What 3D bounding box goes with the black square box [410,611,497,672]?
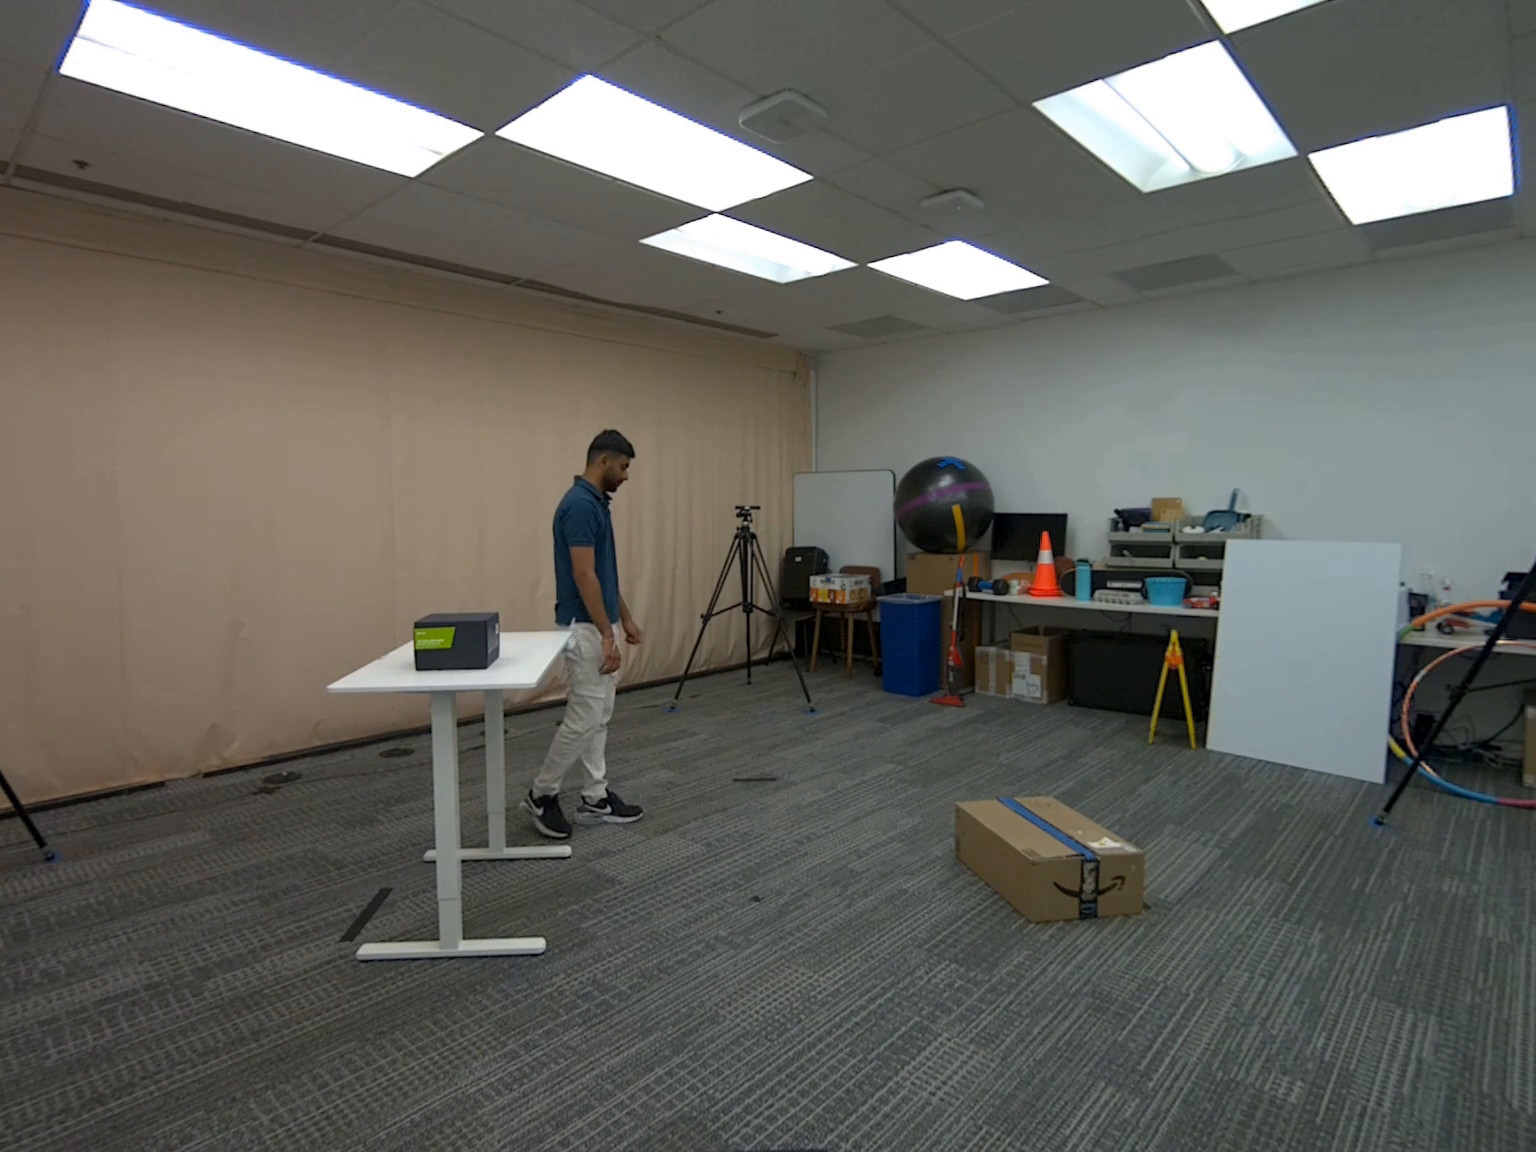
[{"bbox_3d":[-1.026,0.208,2.775,0.226,0.155,0.219,-1,5,-7],"label":"black square box"}]
